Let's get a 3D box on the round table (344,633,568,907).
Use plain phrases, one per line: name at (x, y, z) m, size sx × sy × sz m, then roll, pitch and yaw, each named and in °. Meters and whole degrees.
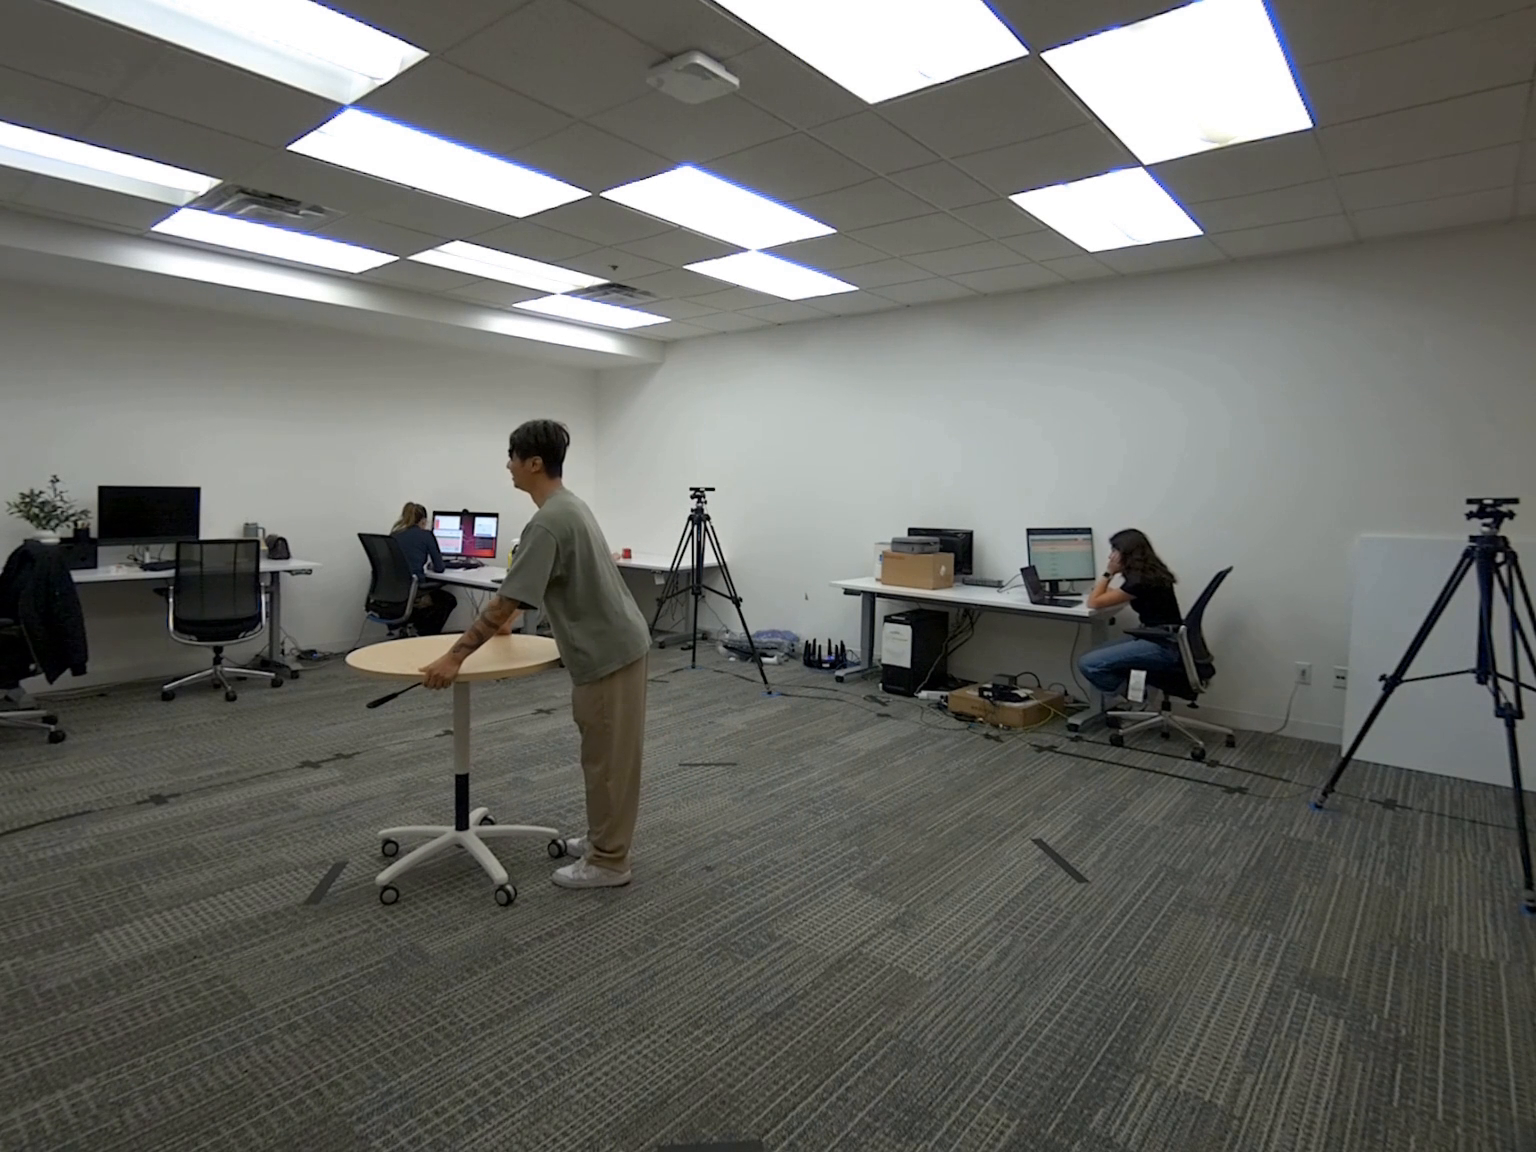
round table at (-1.111, 0.659, 3.083) m, size 0.784 × 0.783 × 0.789 m, roll 0°, pitch 5°, yaw -2°
